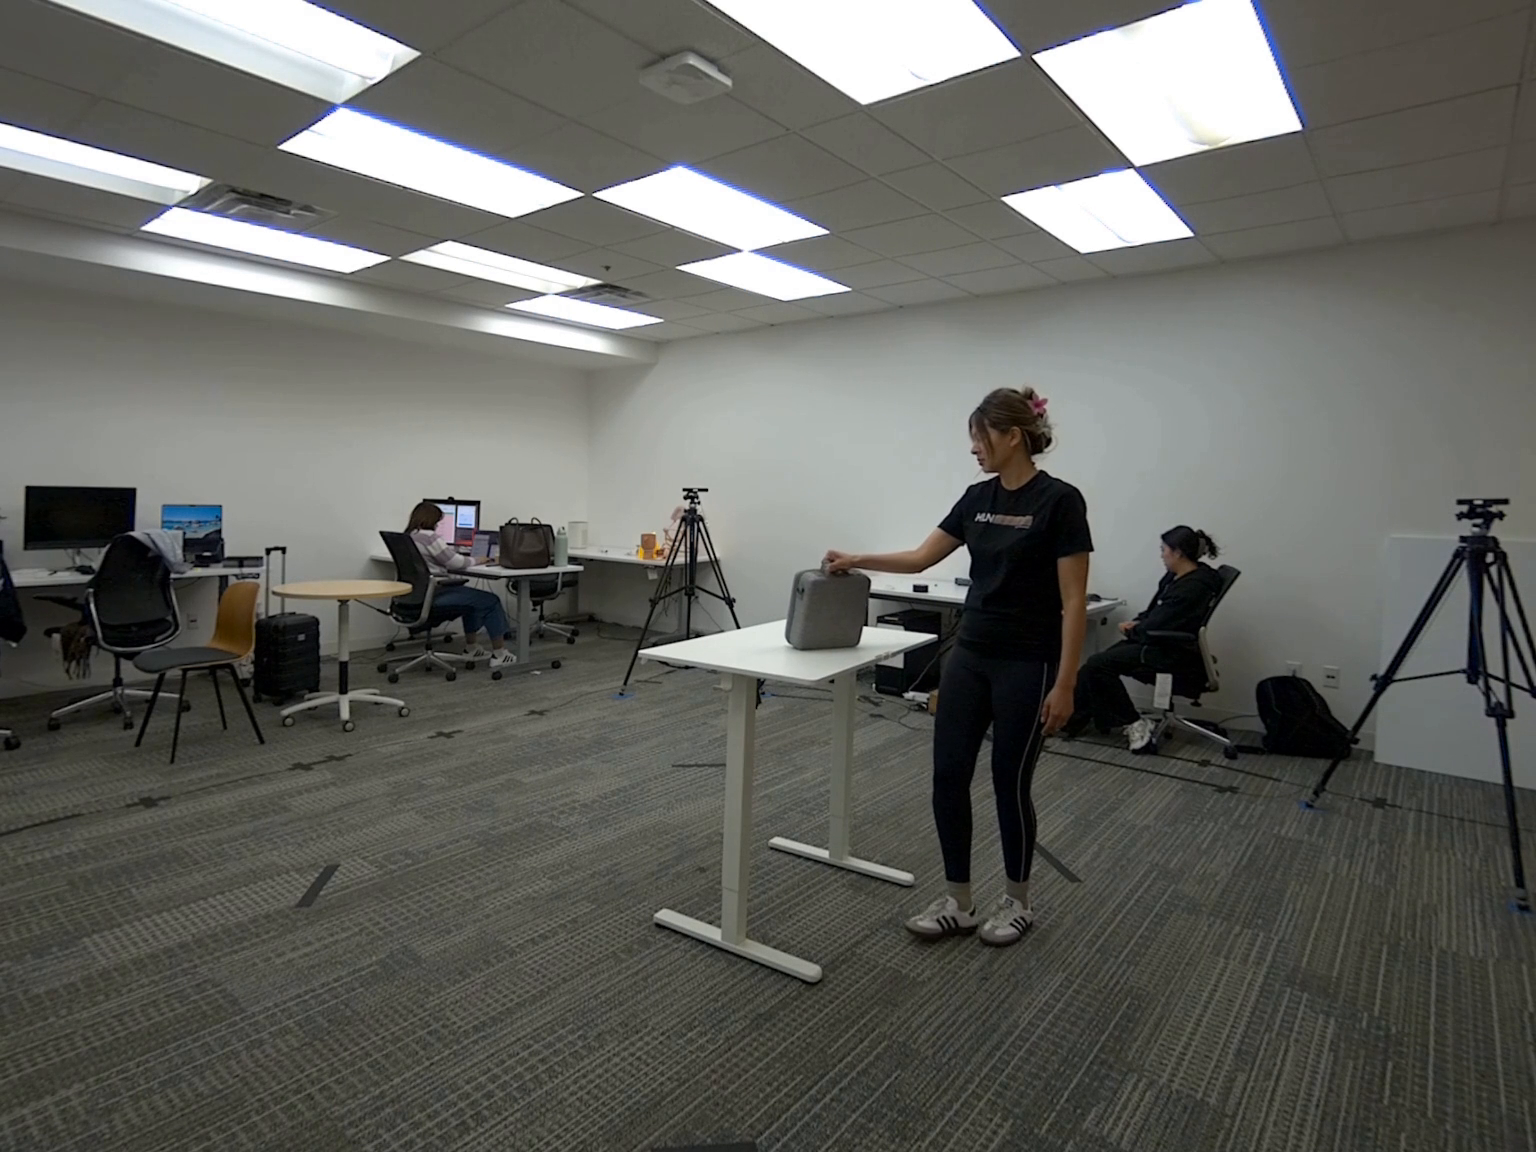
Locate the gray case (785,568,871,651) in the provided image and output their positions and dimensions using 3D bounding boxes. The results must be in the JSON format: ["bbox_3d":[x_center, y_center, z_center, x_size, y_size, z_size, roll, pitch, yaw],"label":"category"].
[{"bbox_3d":[0.186,0.098,2.756,0.250,0.258,0.108,0,16,-28],"label":"gray case"}]
